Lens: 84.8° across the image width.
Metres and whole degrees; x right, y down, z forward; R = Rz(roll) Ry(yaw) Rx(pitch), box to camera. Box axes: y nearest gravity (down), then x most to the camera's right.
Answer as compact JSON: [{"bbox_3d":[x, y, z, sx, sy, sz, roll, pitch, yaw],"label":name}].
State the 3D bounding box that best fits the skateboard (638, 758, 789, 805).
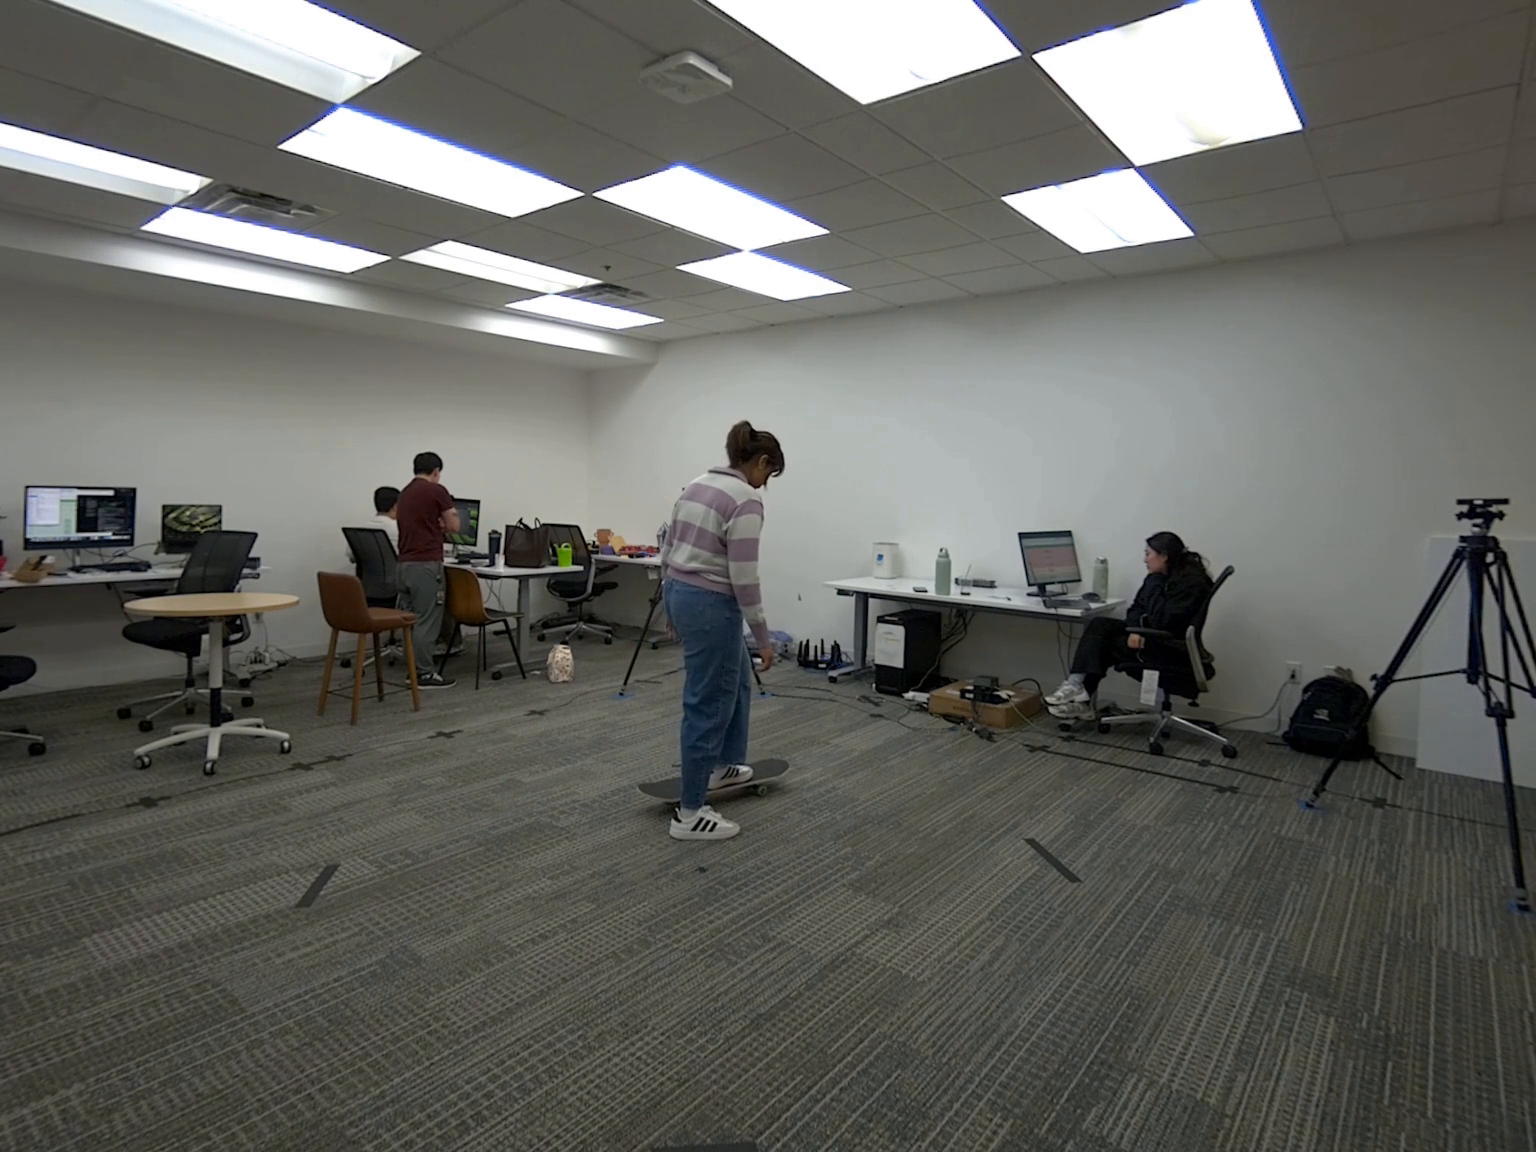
[{"bbox_3d":[-0.248,0.943,3.820,0.763,0.109,0.200,-3,10,-34],"label":"skateboard"}]
